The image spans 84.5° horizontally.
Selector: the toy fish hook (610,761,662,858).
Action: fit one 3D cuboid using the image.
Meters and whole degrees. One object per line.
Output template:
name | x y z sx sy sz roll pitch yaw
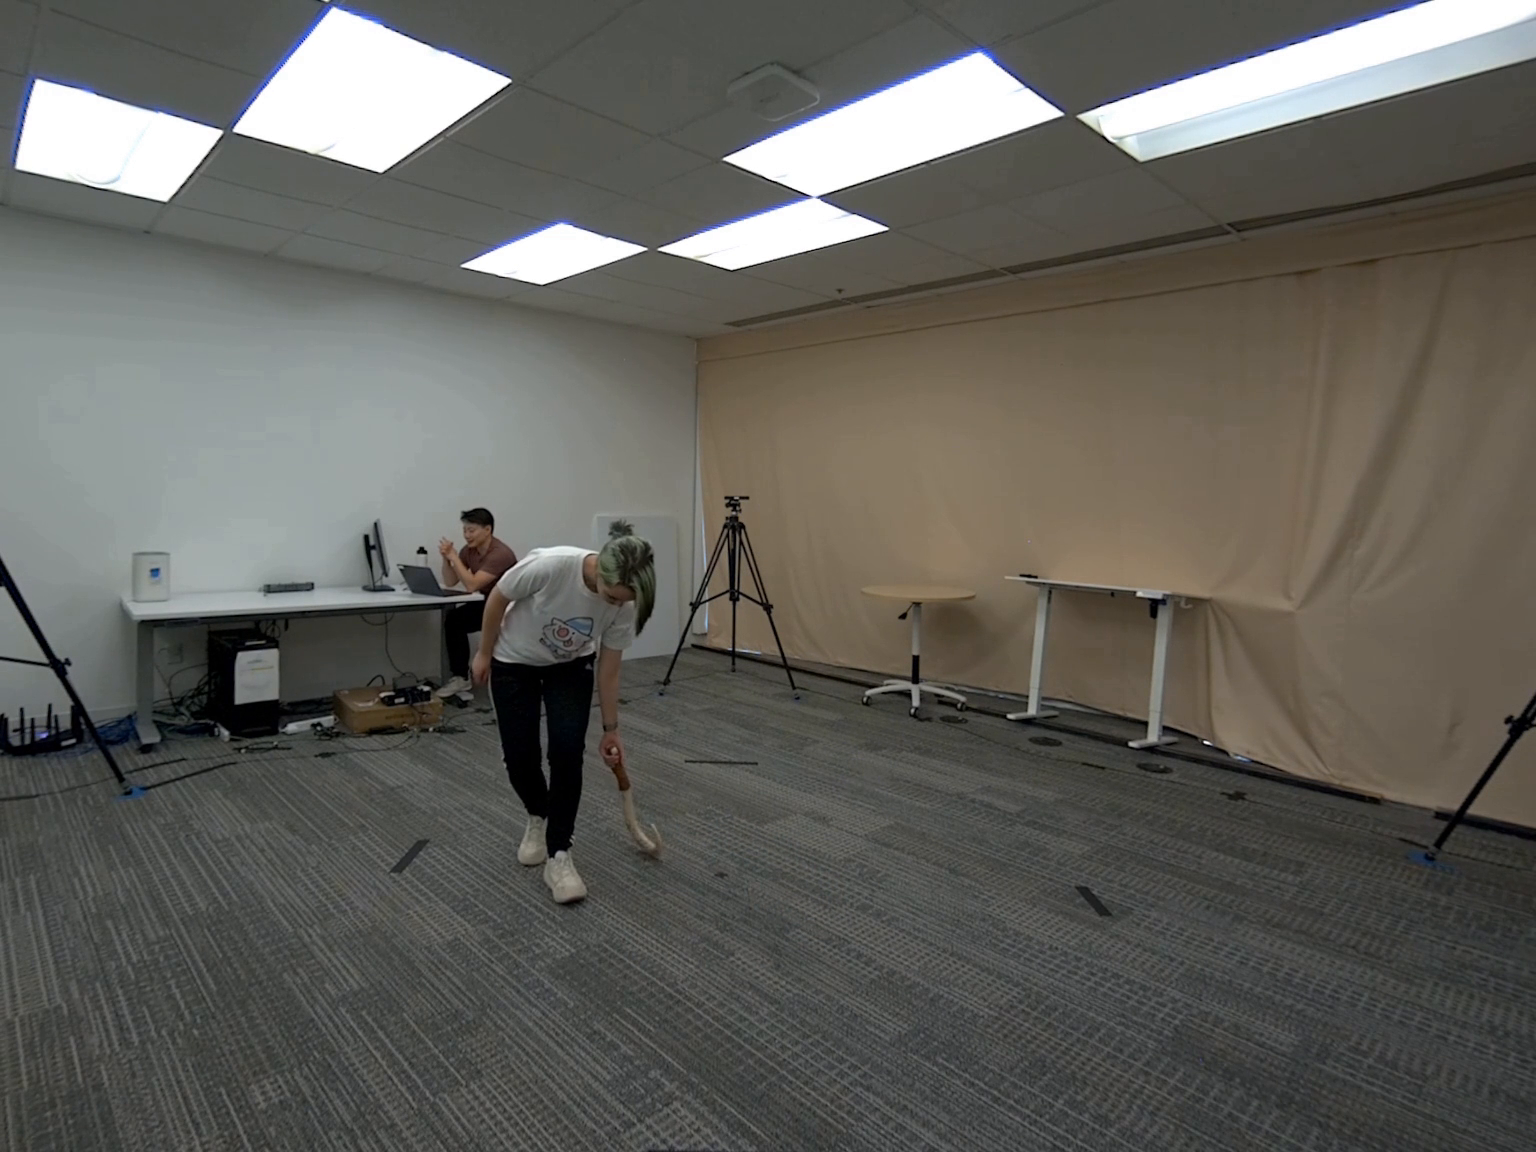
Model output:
toy fish hook | -0.502 0.857 3.161 0.231 0.496 0.048 15 37 42
